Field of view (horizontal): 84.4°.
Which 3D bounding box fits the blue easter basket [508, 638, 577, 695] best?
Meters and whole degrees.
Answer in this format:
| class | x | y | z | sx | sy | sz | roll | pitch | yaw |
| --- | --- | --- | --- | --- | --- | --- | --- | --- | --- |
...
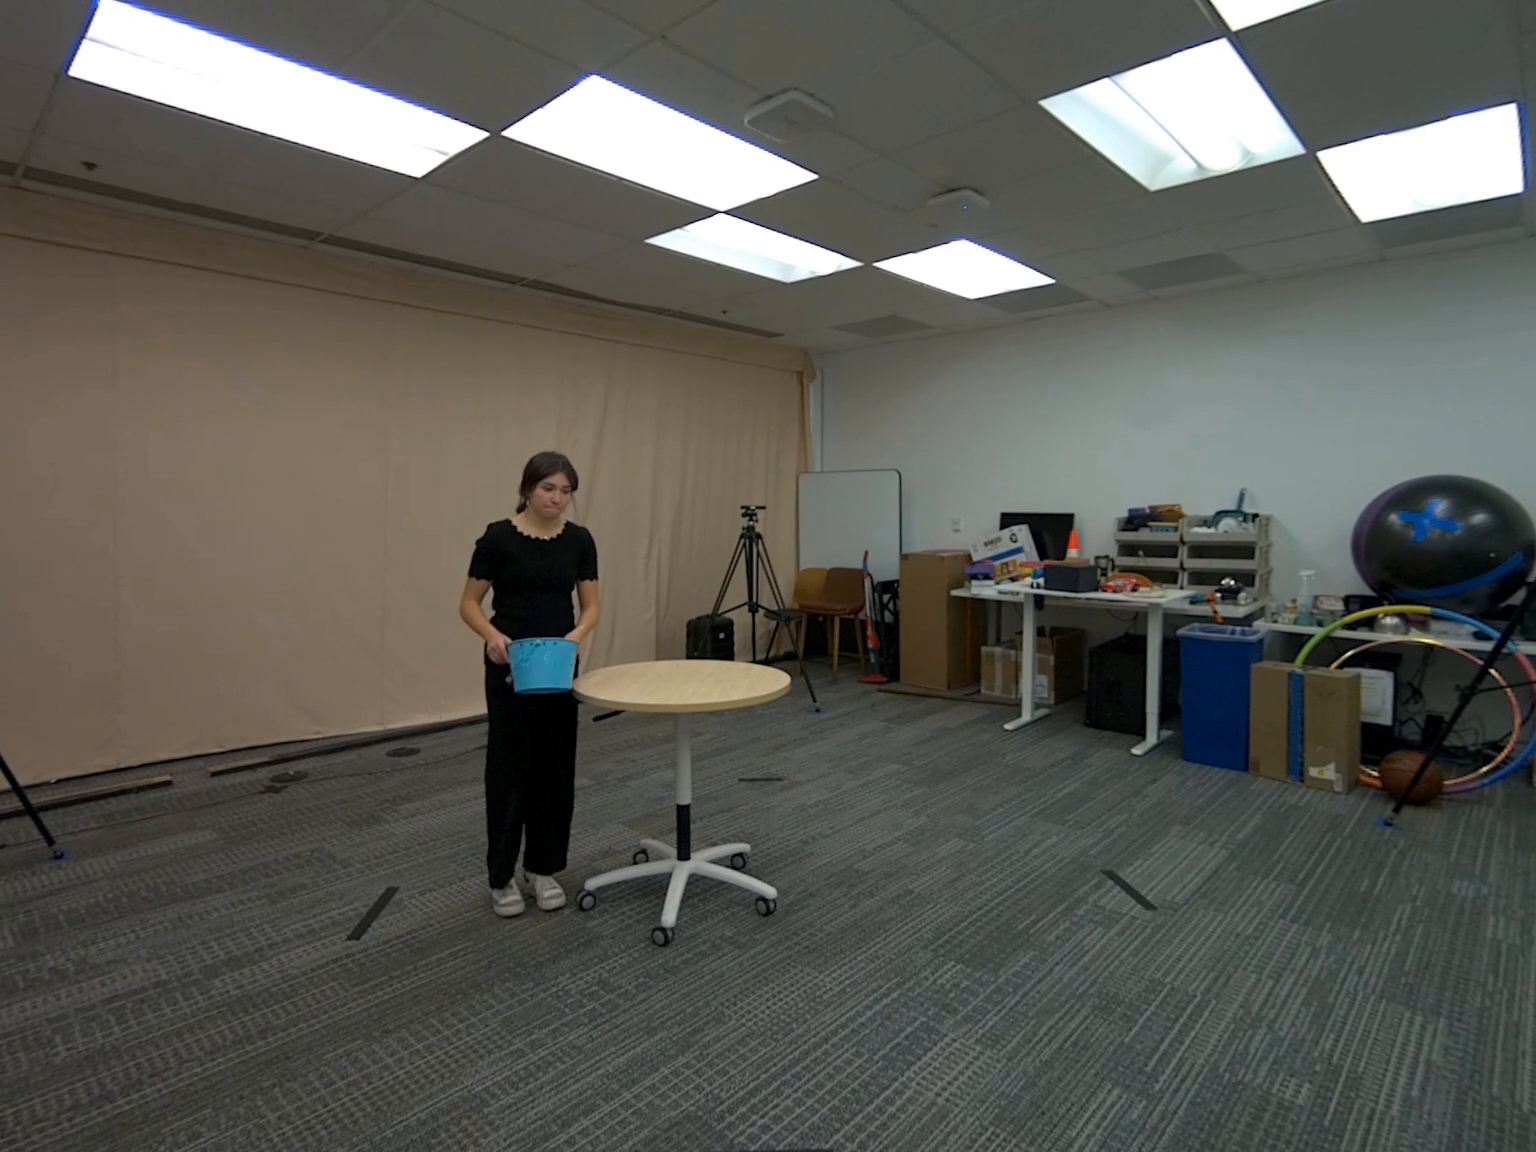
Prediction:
| class | x | y | z | sx | sy | sz | roll | pitch | yaw |
| --- | --- | --- | --- | --- | --- | --- | --- | --- | --- |
| blue easter basket | -0.739 | 0.298 | 2.741 | 0.243 | 0.157 | 0.242 | -3 | -11 | -2 |
